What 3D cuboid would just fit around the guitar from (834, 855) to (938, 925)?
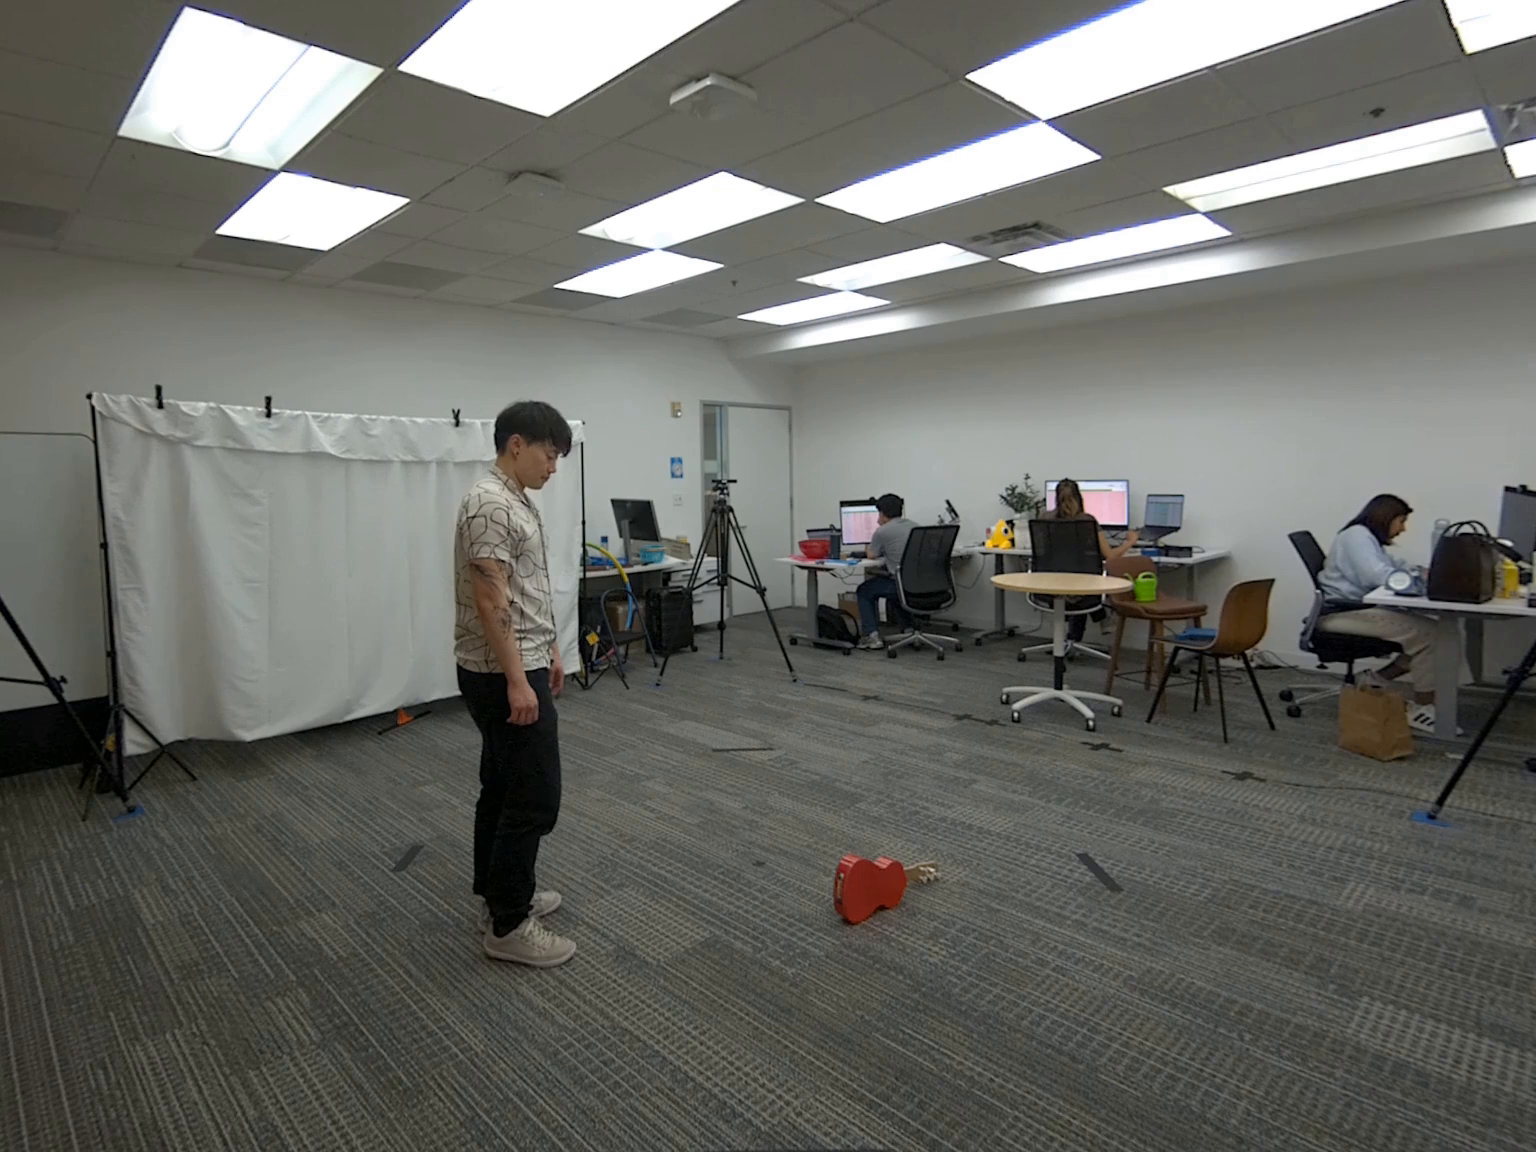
[{"bbox_3d":[0.417,0.979,2.819,0.485,0.193,0.072,-5,2,-38],"label":"guitar"}]
